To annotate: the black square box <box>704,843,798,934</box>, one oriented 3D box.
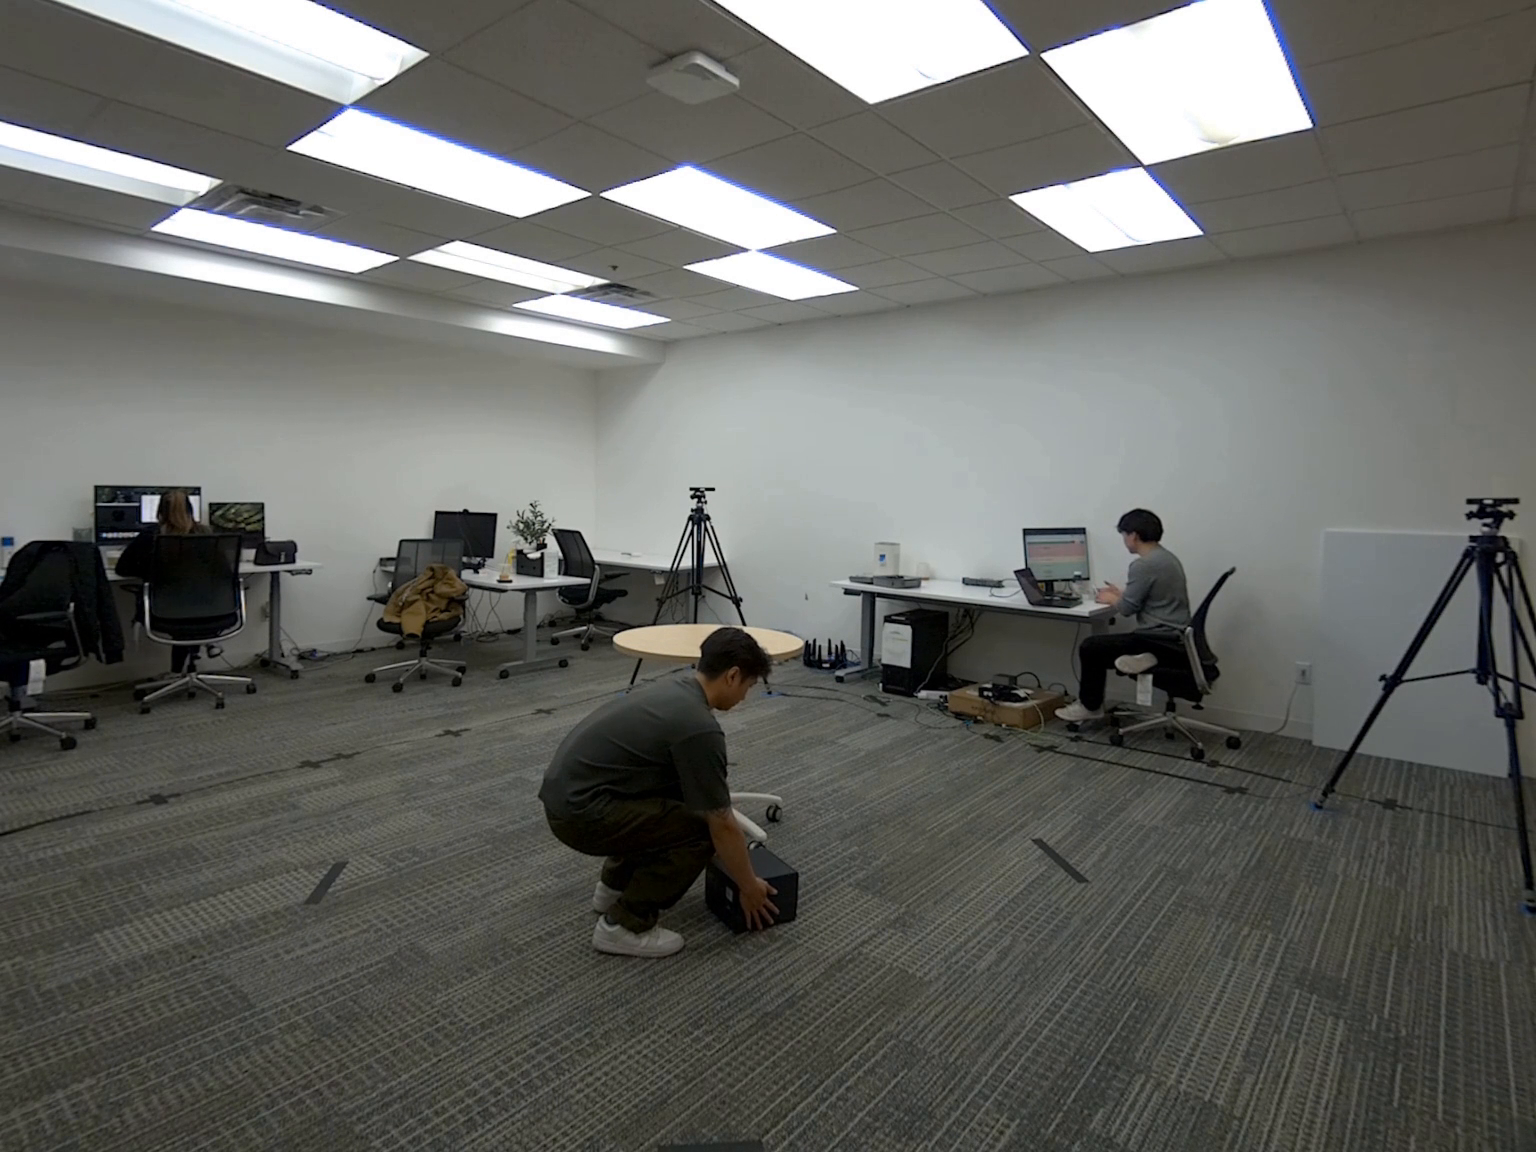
[{"bbox_3d":[-0.063,1.017,2.773,0.222,0.155,0.223,1,4,-29],"label":"black square box"}]
